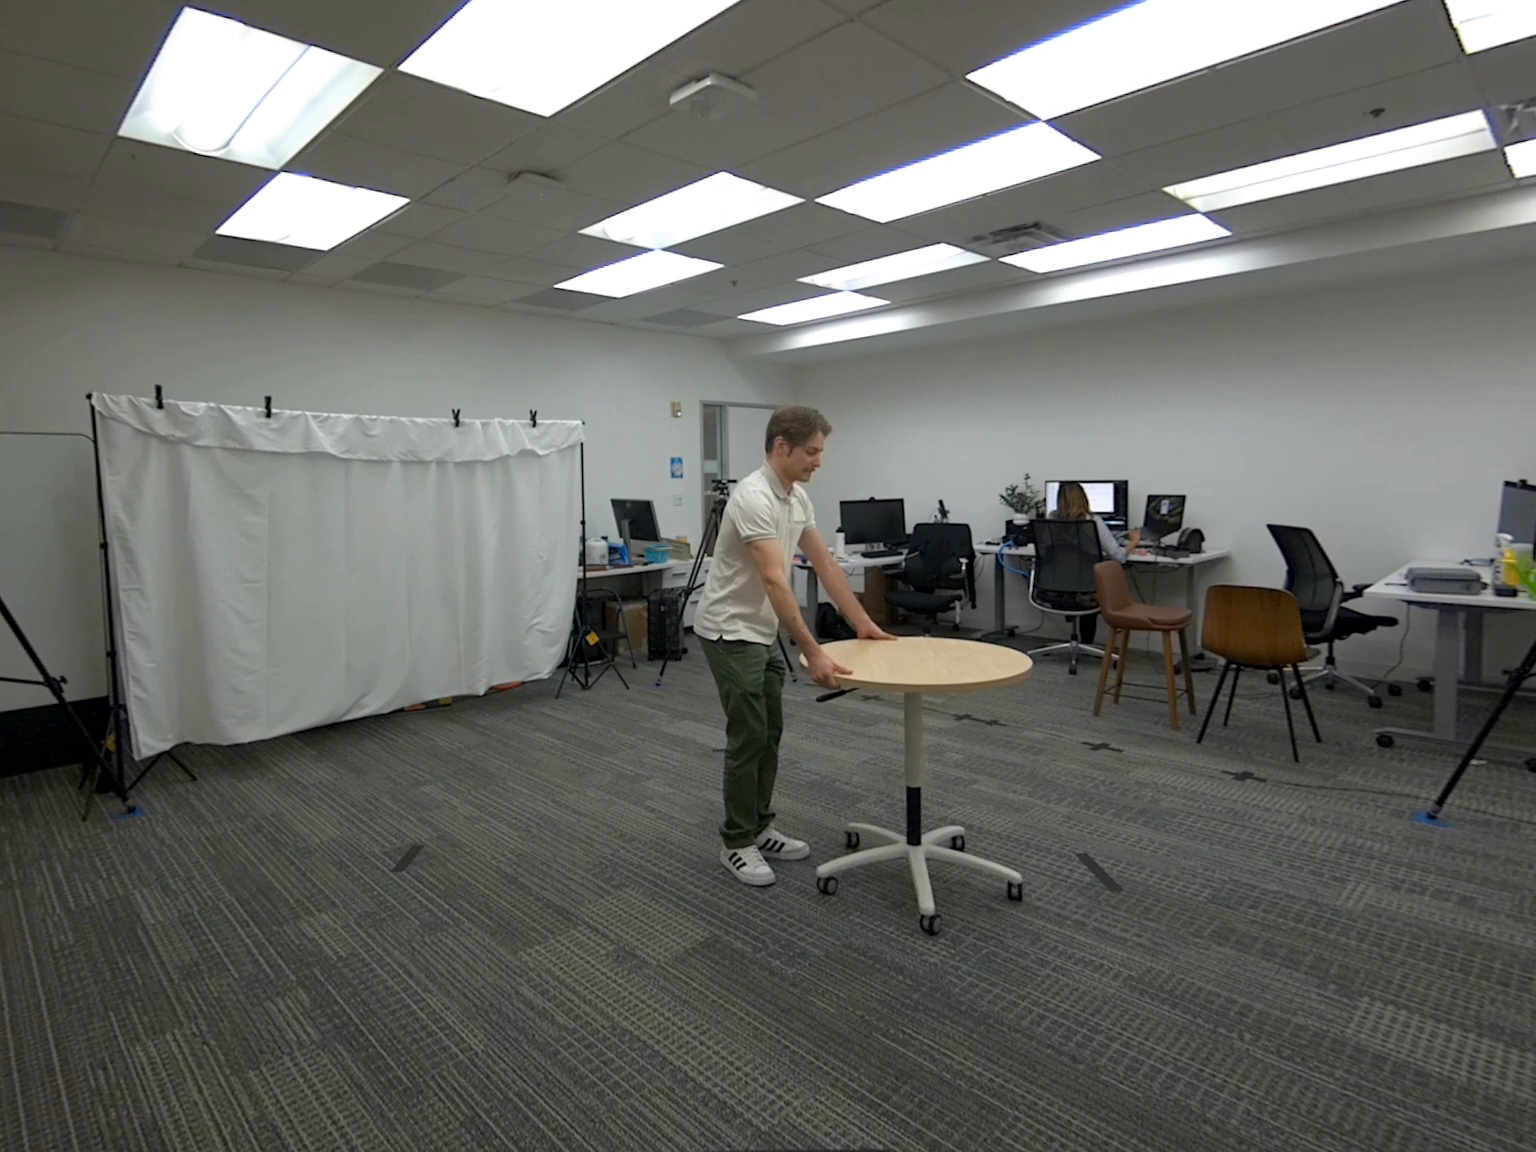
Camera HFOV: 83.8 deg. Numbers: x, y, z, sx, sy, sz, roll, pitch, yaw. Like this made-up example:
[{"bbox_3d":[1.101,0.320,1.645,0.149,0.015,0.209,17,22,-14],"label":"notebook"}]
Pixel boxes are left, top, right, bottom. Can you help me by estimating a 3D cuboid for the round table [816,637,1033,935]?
[{"bbox_3d":[0.497,0.670,2.912,0.763,0.791,0.768,-2,5,-2],"label":"round table"}]
